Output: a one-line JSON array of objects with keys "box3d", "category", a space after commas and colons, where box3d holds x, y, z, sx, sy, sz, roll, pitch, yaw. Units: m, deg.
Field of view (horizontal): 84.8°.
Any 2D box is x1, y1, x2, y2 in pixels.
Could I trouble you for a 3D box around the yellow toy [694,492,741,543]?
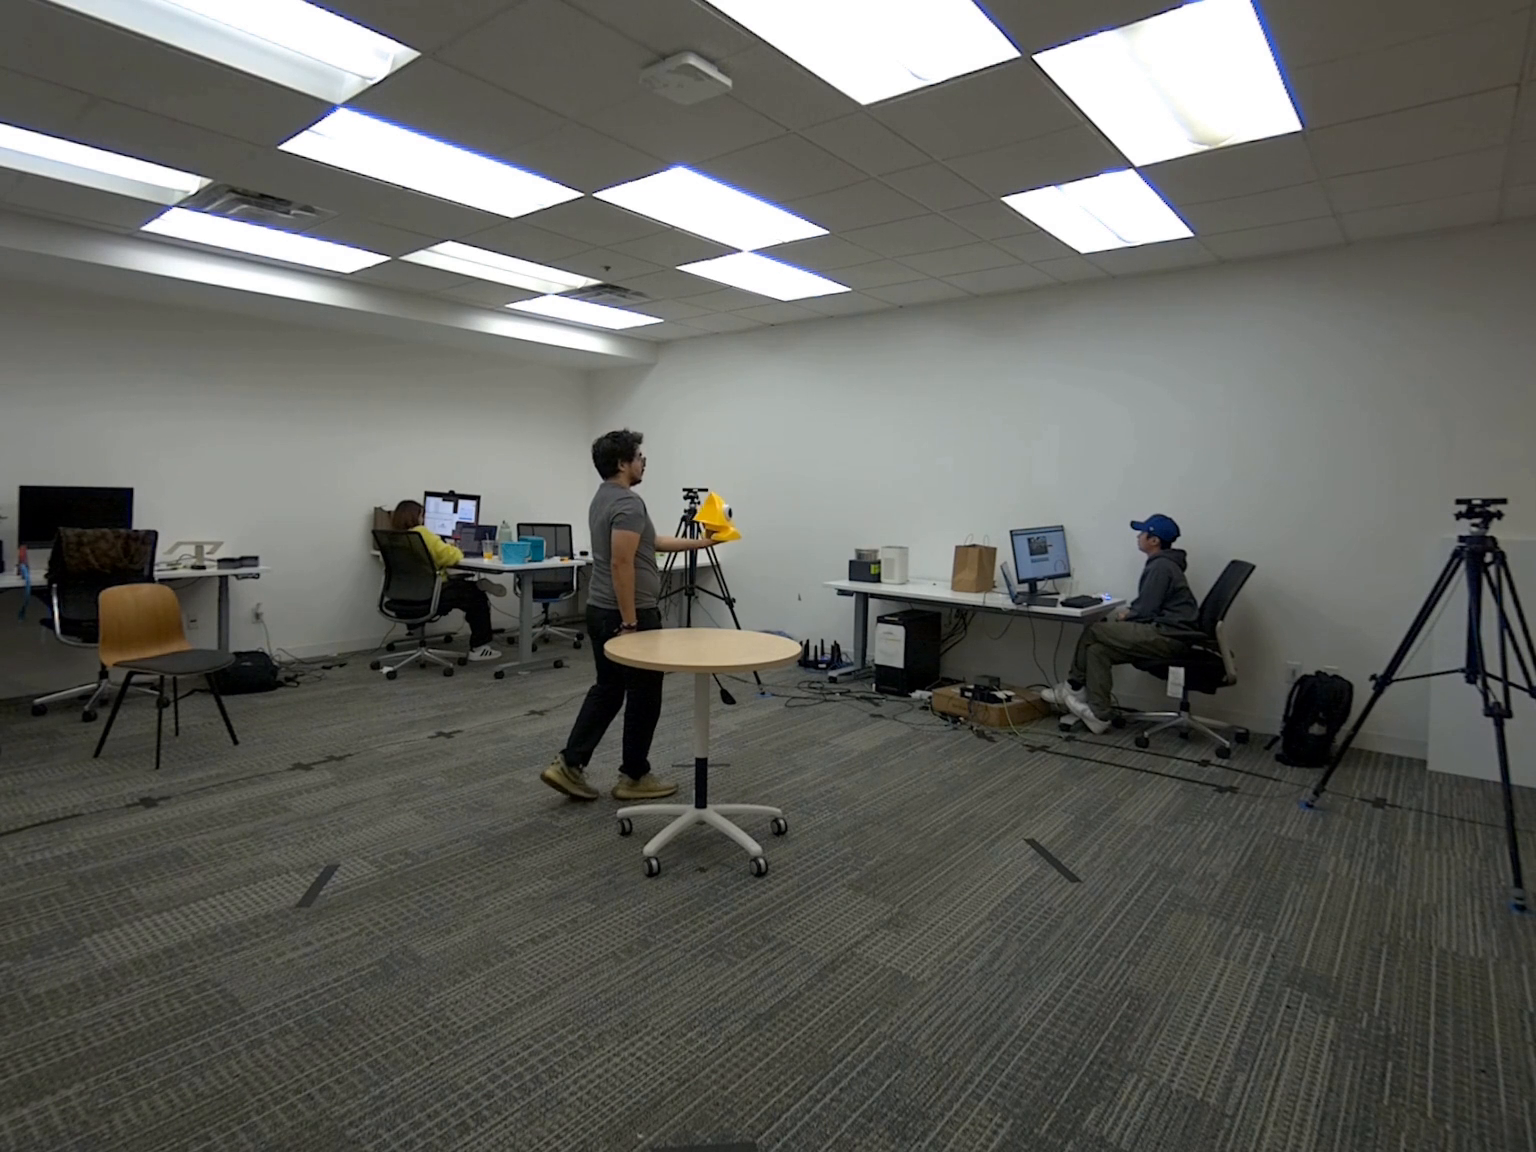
[{"box3d": [-0.251, -0.306, 4.175, 0.187, 0.229, 0.212, -5, 13, -39], "category": "yellow toy"}]
